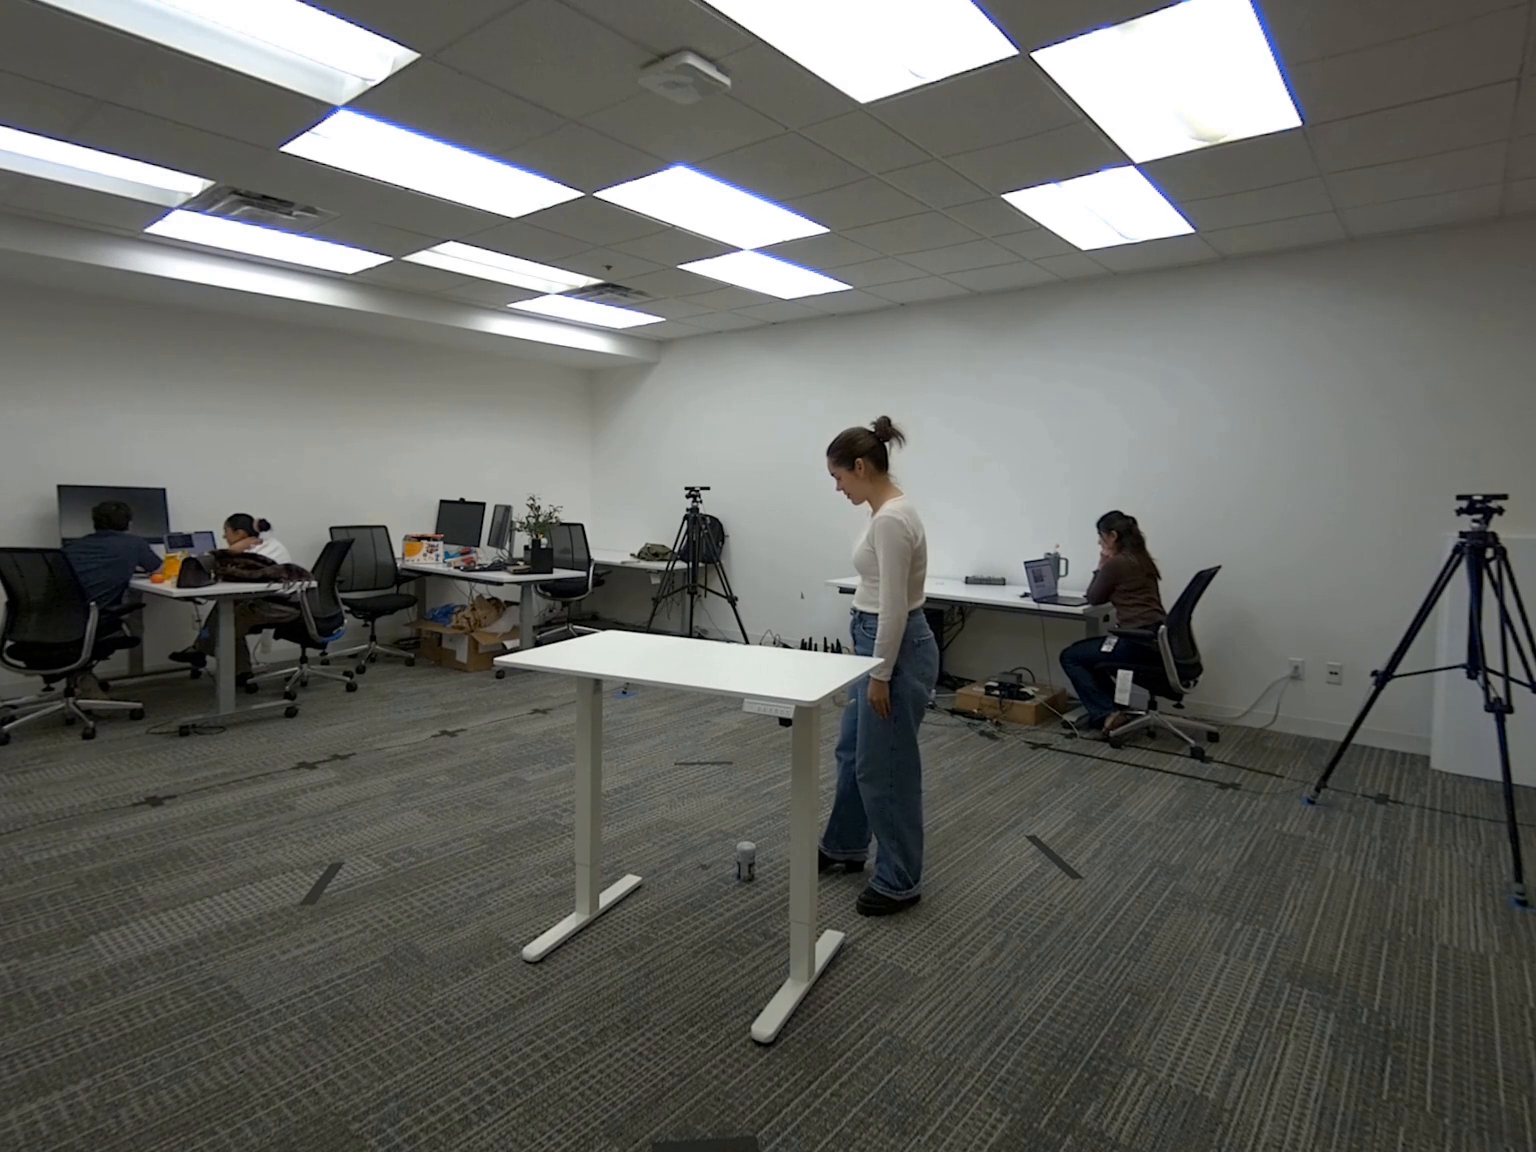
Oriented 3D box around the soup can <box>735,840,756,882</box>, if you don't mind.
[{"bbox_3d":[-0.088,1.025,3.041,0.067,0.121,0.067,-1,2,-2],"label":"soup can"}]
